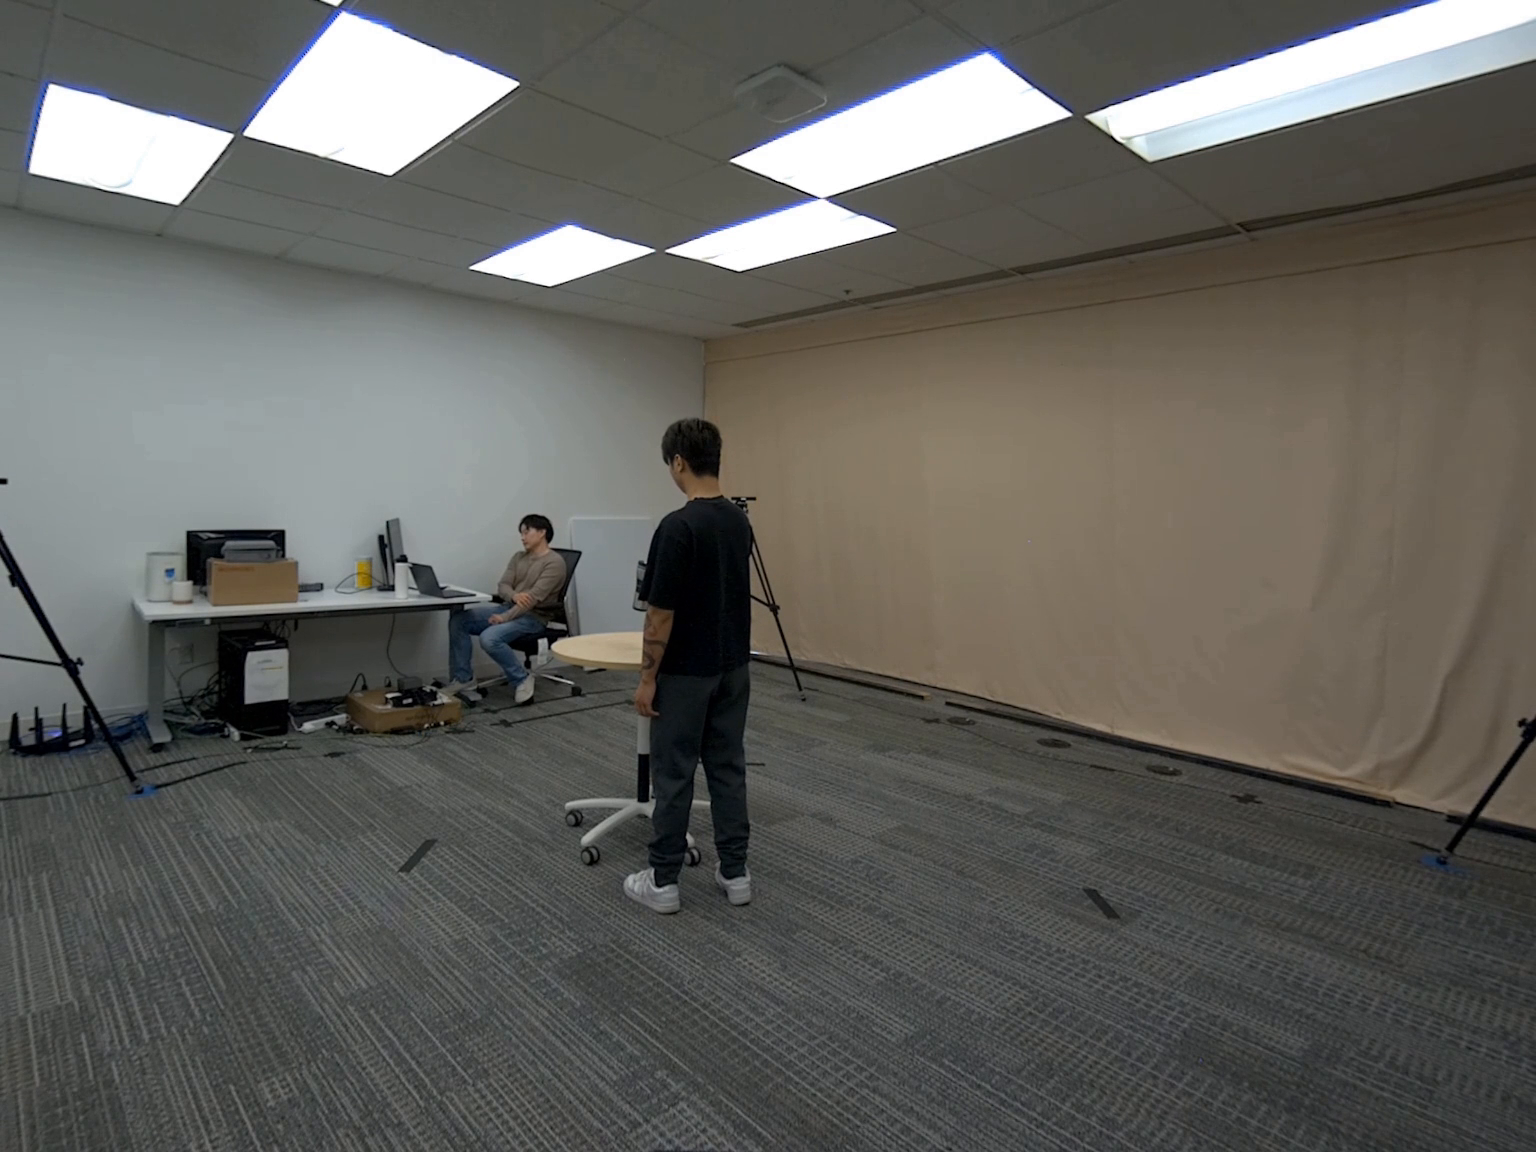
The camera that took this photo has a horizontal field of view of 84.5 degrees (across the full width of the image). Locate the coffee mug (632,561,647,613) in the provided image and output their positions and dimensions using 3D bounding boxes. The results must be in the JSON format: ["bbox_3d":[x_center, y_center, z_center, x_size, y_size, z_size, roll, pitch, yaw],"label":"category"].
[{"bbox_3d":[-0.498,0.048,3.417,0.086,0.202,0.125,4,9,-33],"label":"coffee mug"}]
